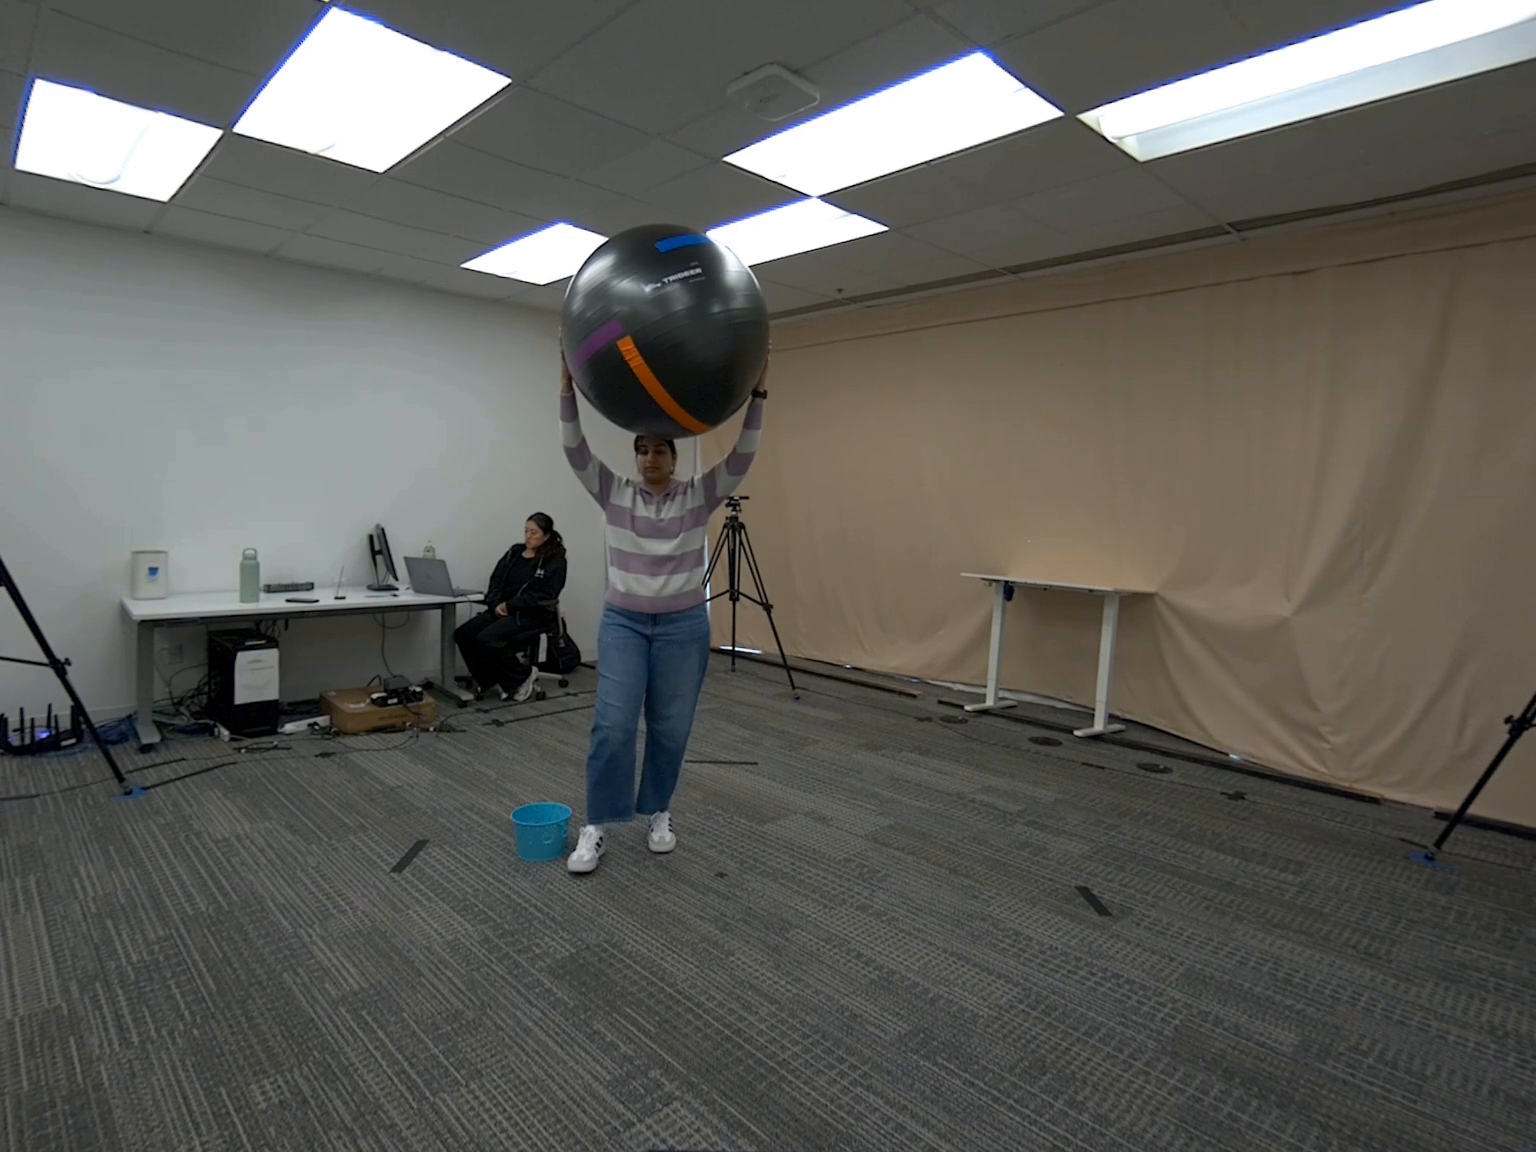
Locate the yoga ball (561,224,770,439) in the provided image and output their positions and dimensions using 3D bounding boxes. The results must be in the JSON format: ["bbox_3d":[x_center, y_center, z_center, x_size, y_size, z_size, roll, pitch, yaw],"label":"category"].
[{"bbox_3d":[-0.380,-0.876,3.065,0.757,0.756,0.761,1,4,-1],"label":"yoga ball"}]
